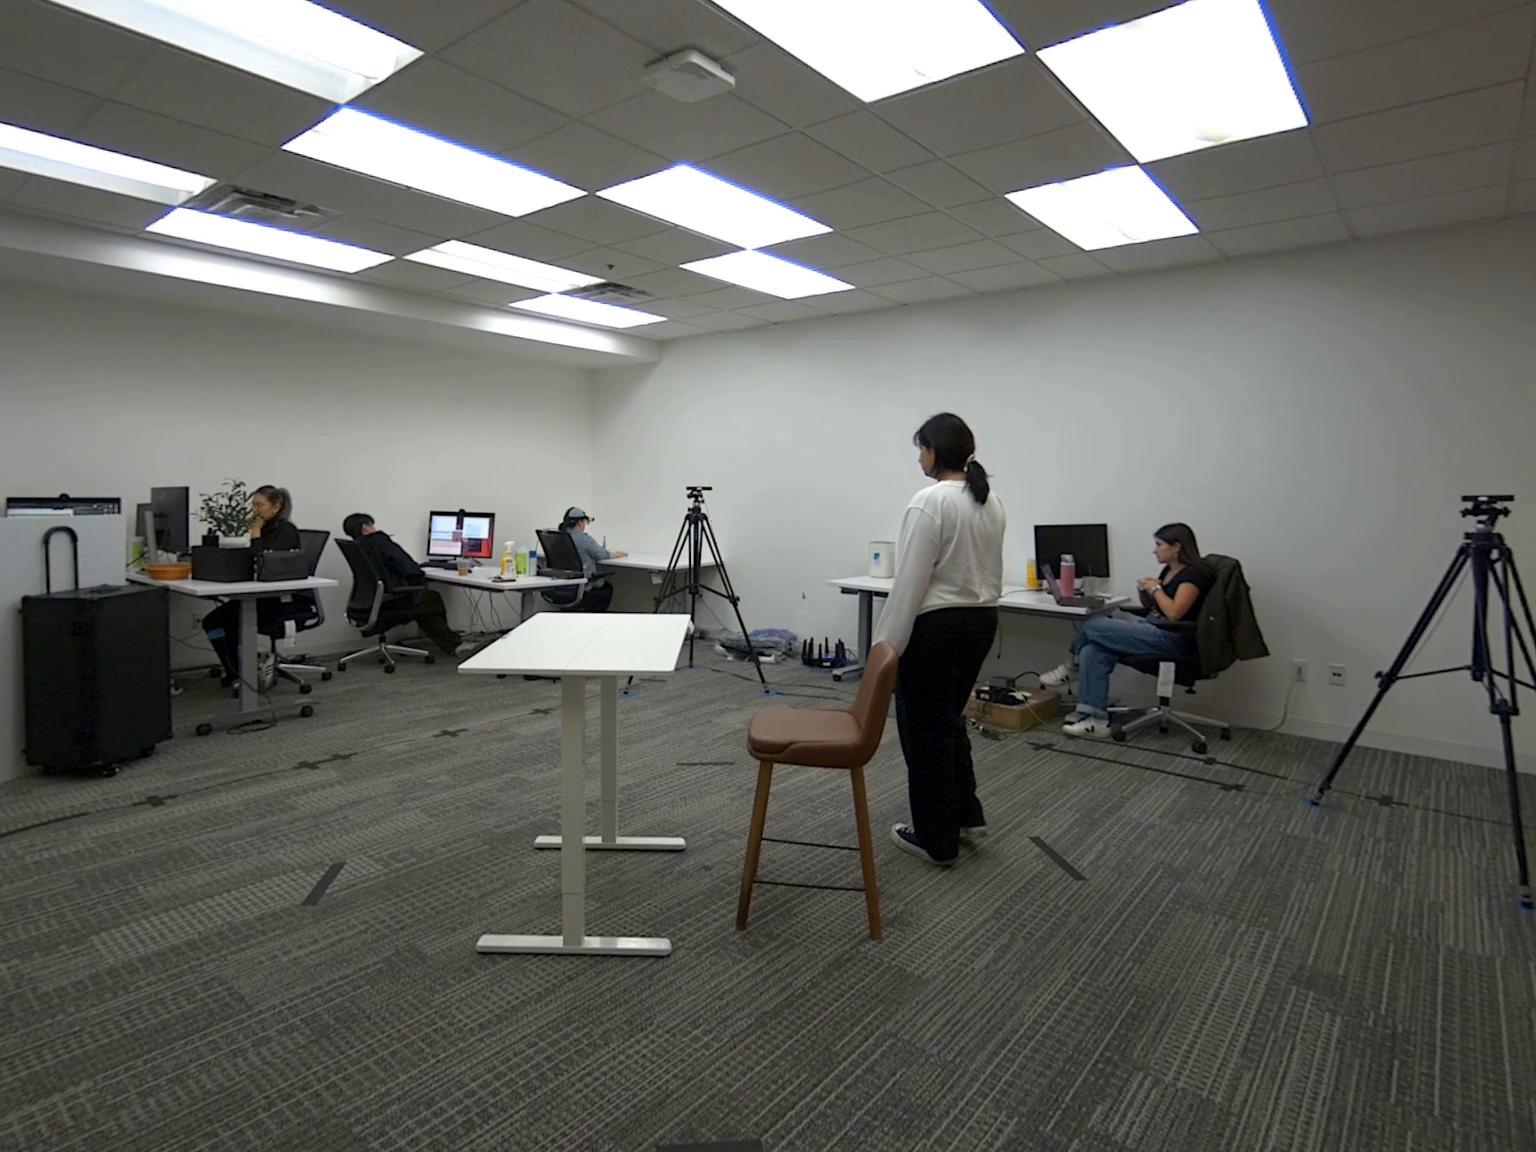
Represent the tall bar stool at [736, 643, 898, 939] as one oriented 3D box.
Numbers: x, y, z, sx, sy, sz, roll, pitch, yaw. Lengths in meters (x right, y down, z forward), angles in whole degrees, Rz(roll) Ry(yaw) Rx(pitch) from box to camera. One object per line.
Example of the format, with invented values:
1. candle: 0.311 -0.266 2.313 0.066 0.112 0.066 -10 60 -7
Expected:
1. tall bar stool: 0.159 0.668 2.823 0.472 0.887 0.454 4 4 7
